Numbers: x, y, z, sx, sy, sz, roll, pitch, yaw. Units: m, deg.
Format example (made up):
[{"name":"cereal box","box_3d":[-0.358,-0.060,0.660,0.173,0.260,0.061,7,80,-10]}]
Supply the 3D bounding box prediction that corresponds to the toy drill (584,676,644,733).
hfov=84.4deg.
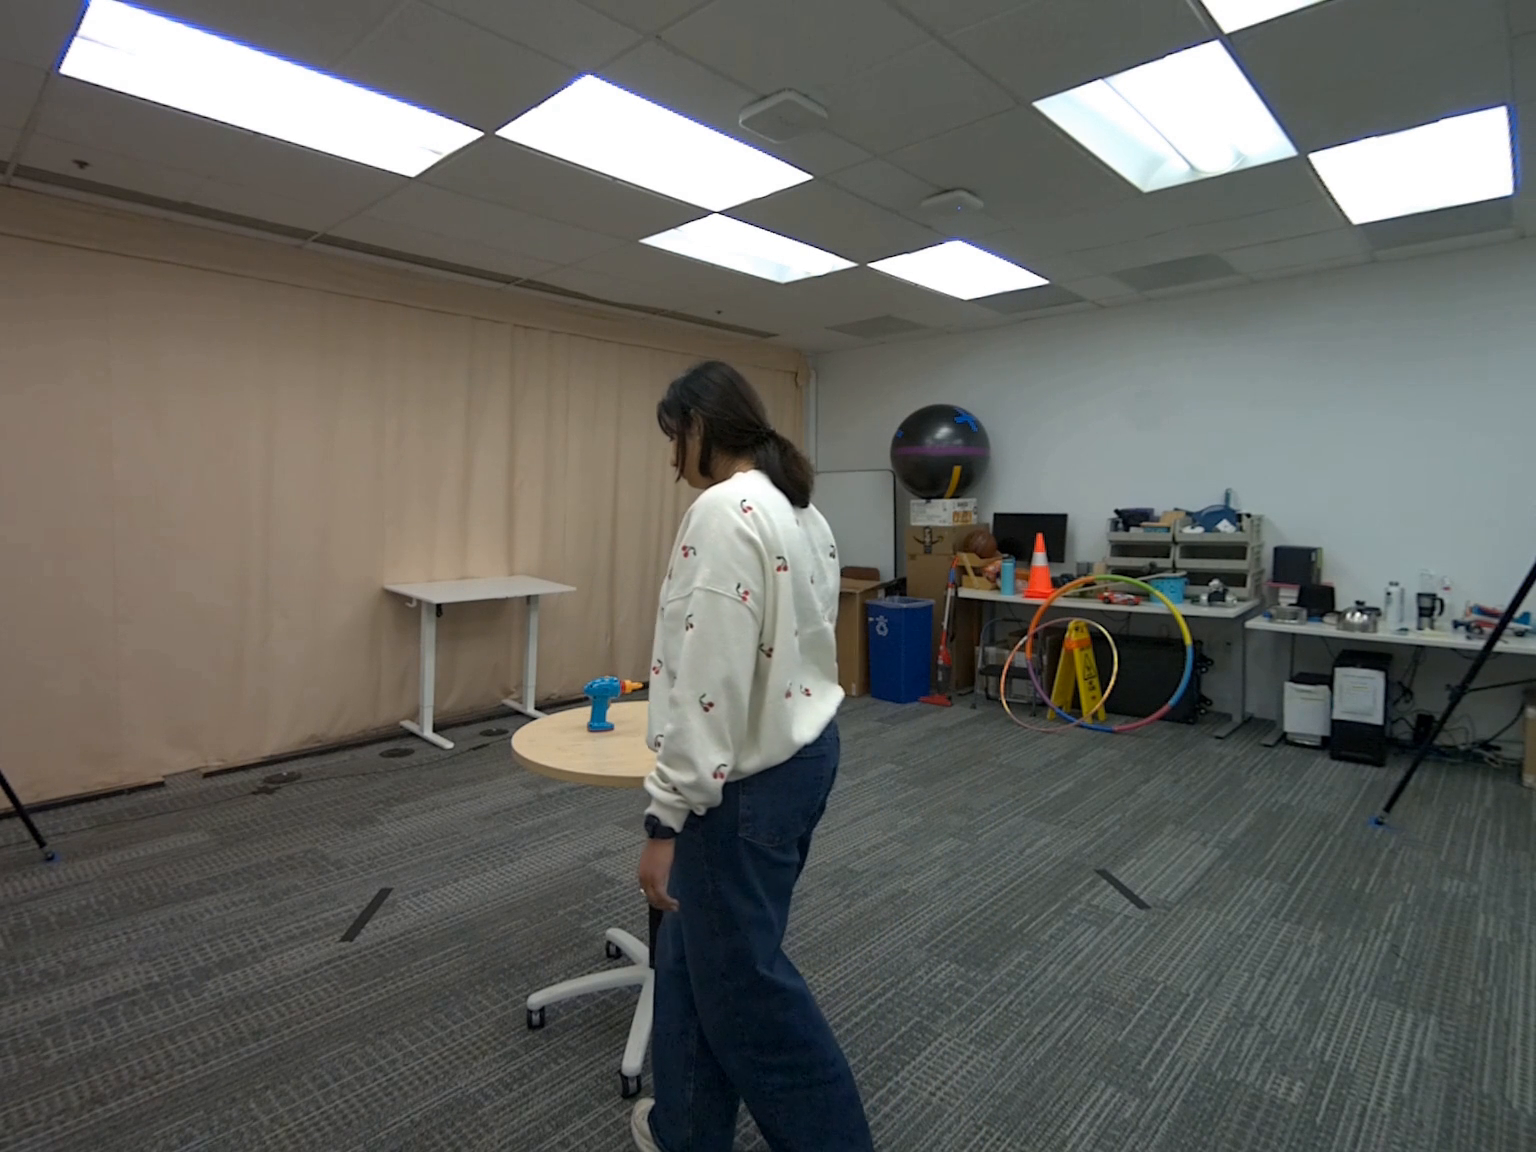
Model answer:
[{"name":"toy drill","box_3d":[-0.425,0.348,2.304,0.165,0.146,0.063,-1,0,-28]}]
